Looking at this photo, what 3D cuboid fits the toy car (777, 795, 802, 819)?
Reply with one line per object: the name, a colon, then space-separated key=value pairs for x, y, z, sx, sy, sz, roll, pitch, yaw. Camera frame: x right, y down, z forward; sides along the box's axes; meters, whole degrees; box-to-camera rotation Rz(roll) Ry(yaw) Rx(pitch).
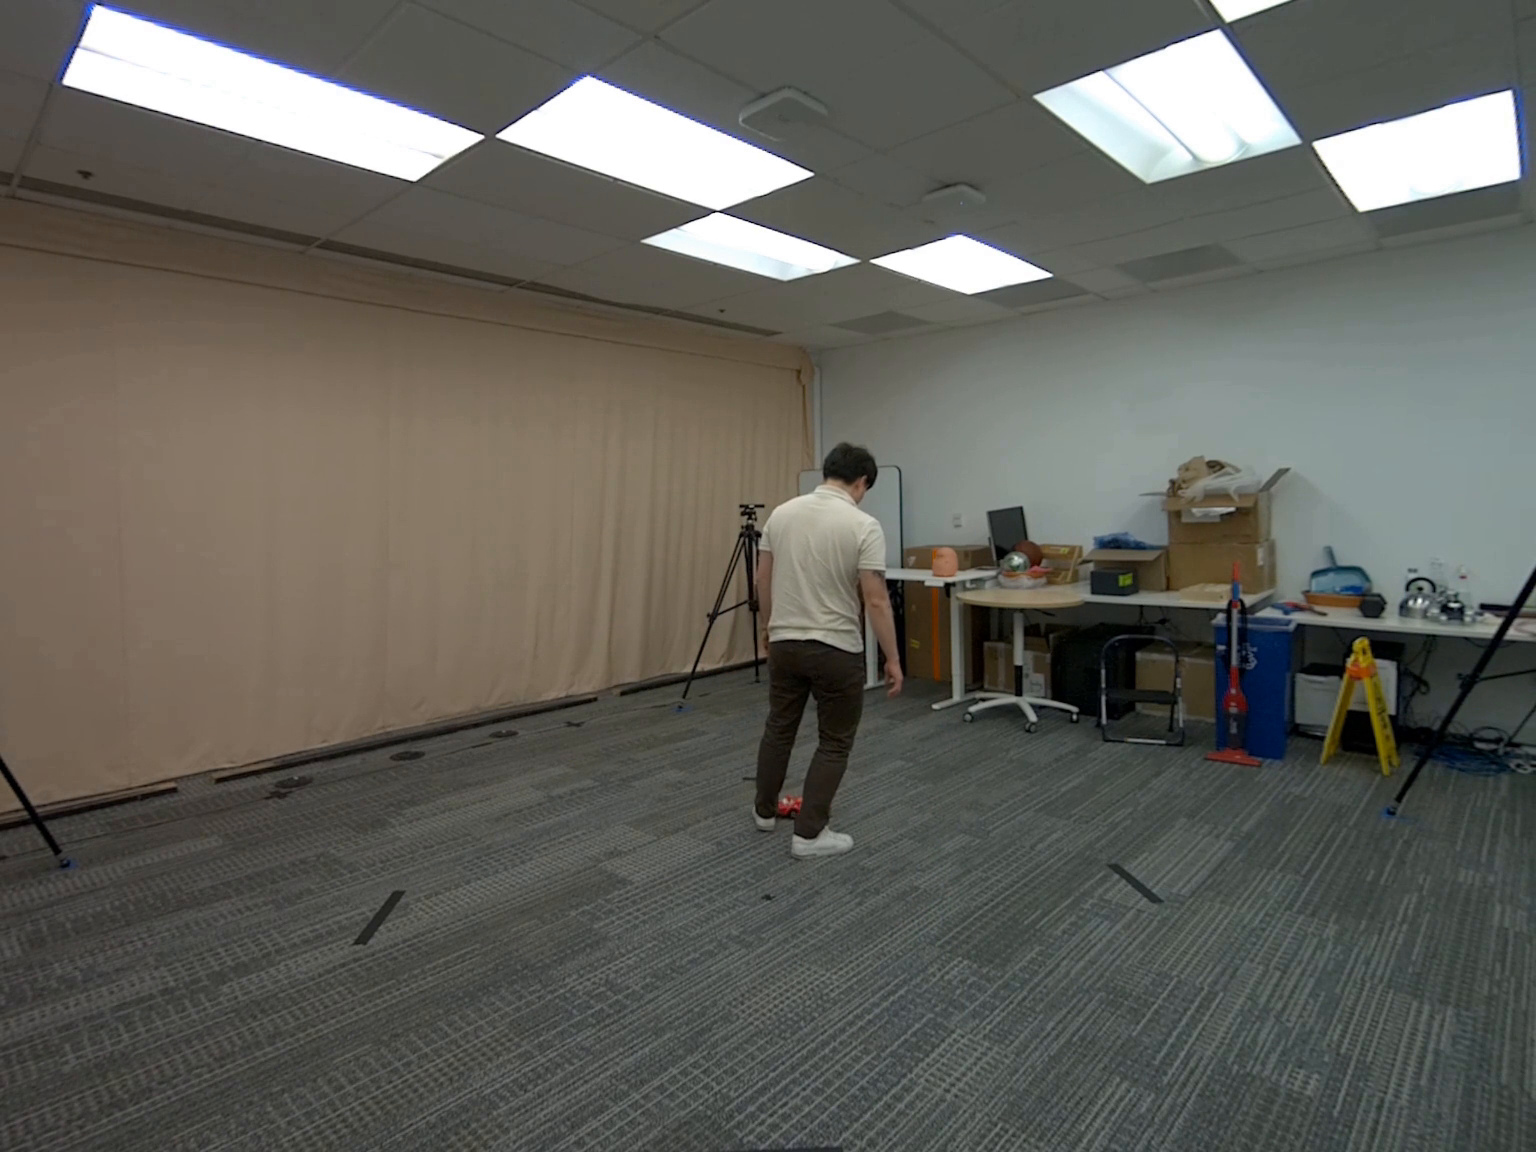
toy car: x=0.158 y=1.040 z=3.776 sx=0.252 sy=0.083 sz=0.131 roll=9 pitch=3 yaw=-7
